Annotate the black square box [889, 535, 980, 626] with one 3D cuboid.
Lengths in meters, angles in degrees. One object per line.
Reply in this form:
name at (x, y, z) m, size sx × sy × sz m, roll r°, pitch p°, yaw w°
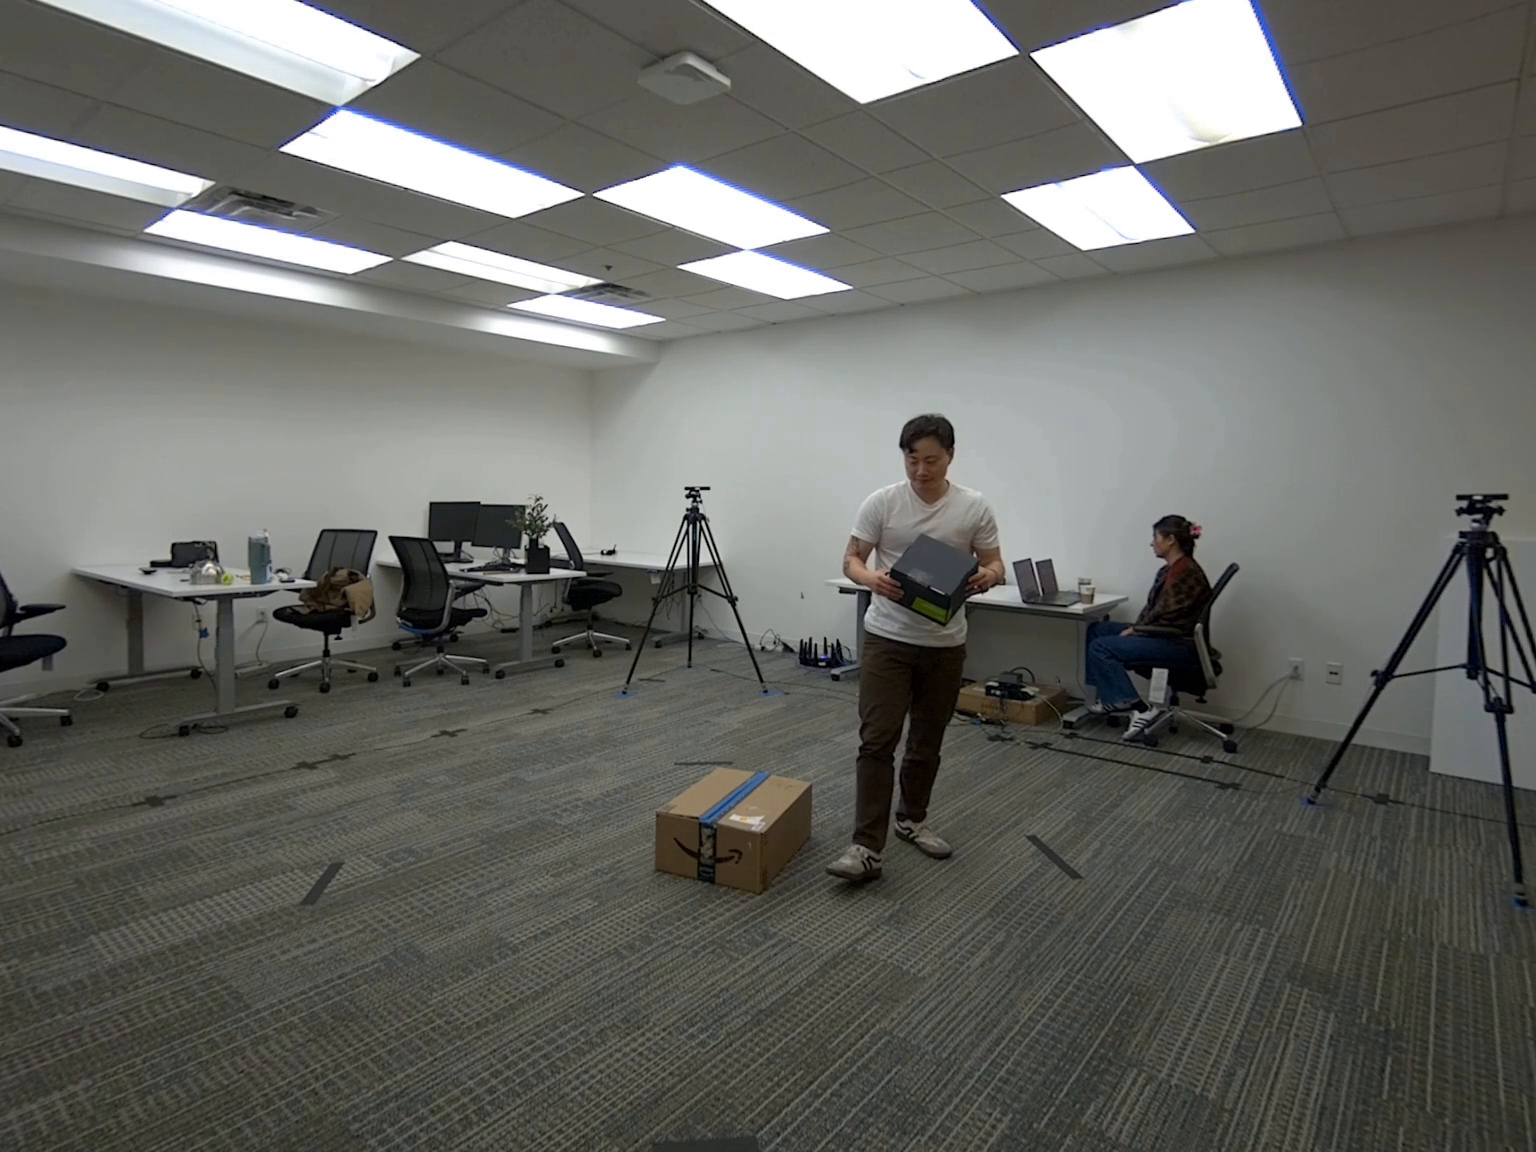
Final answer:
black square box at (0.564, 0.008, 2.933) m, size 0.236 × 0.151 × 0.216 m, roll 28°, pitch 53°, yaw 28°
